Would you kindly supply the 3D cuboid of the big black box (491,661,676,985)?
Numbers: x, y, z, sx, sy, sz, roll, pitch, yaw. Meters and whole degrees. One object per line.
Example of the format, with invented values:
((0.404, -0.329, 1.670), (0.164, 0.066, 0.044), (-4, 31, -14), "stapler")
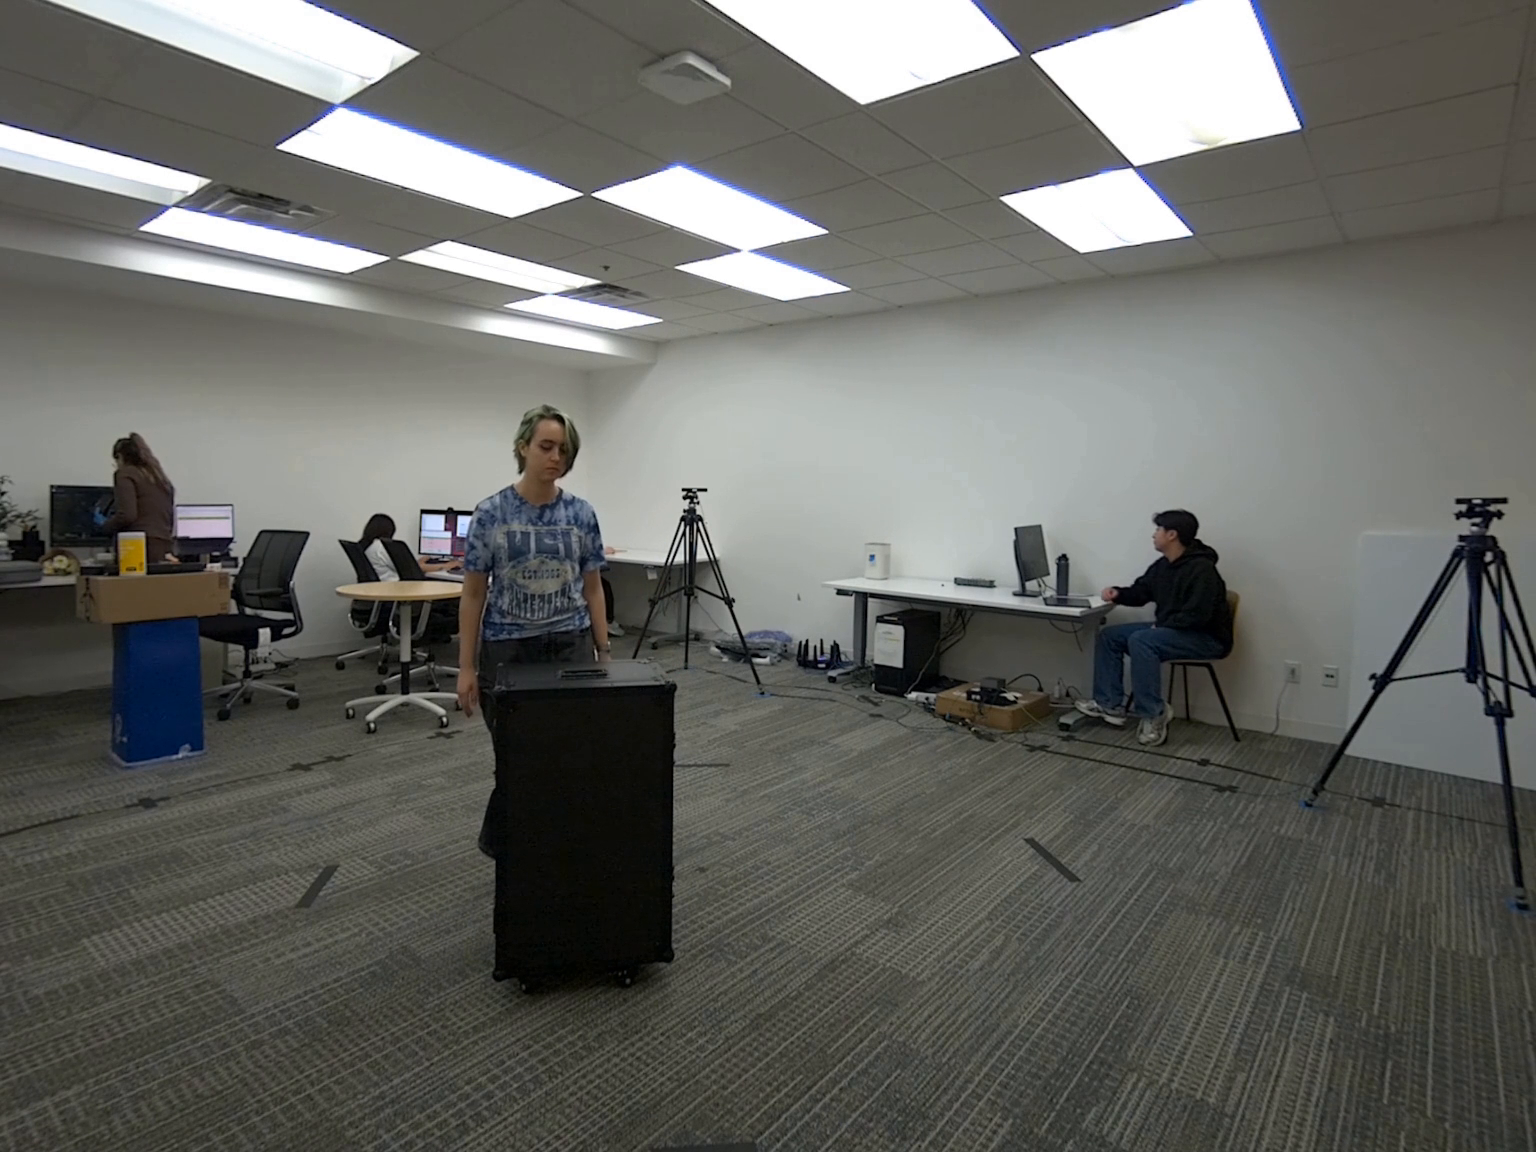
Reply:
((-0.554, 0.702, 2.476), (0.514, 0.860, 0.402), (-1, 2, -13), "big black box")
